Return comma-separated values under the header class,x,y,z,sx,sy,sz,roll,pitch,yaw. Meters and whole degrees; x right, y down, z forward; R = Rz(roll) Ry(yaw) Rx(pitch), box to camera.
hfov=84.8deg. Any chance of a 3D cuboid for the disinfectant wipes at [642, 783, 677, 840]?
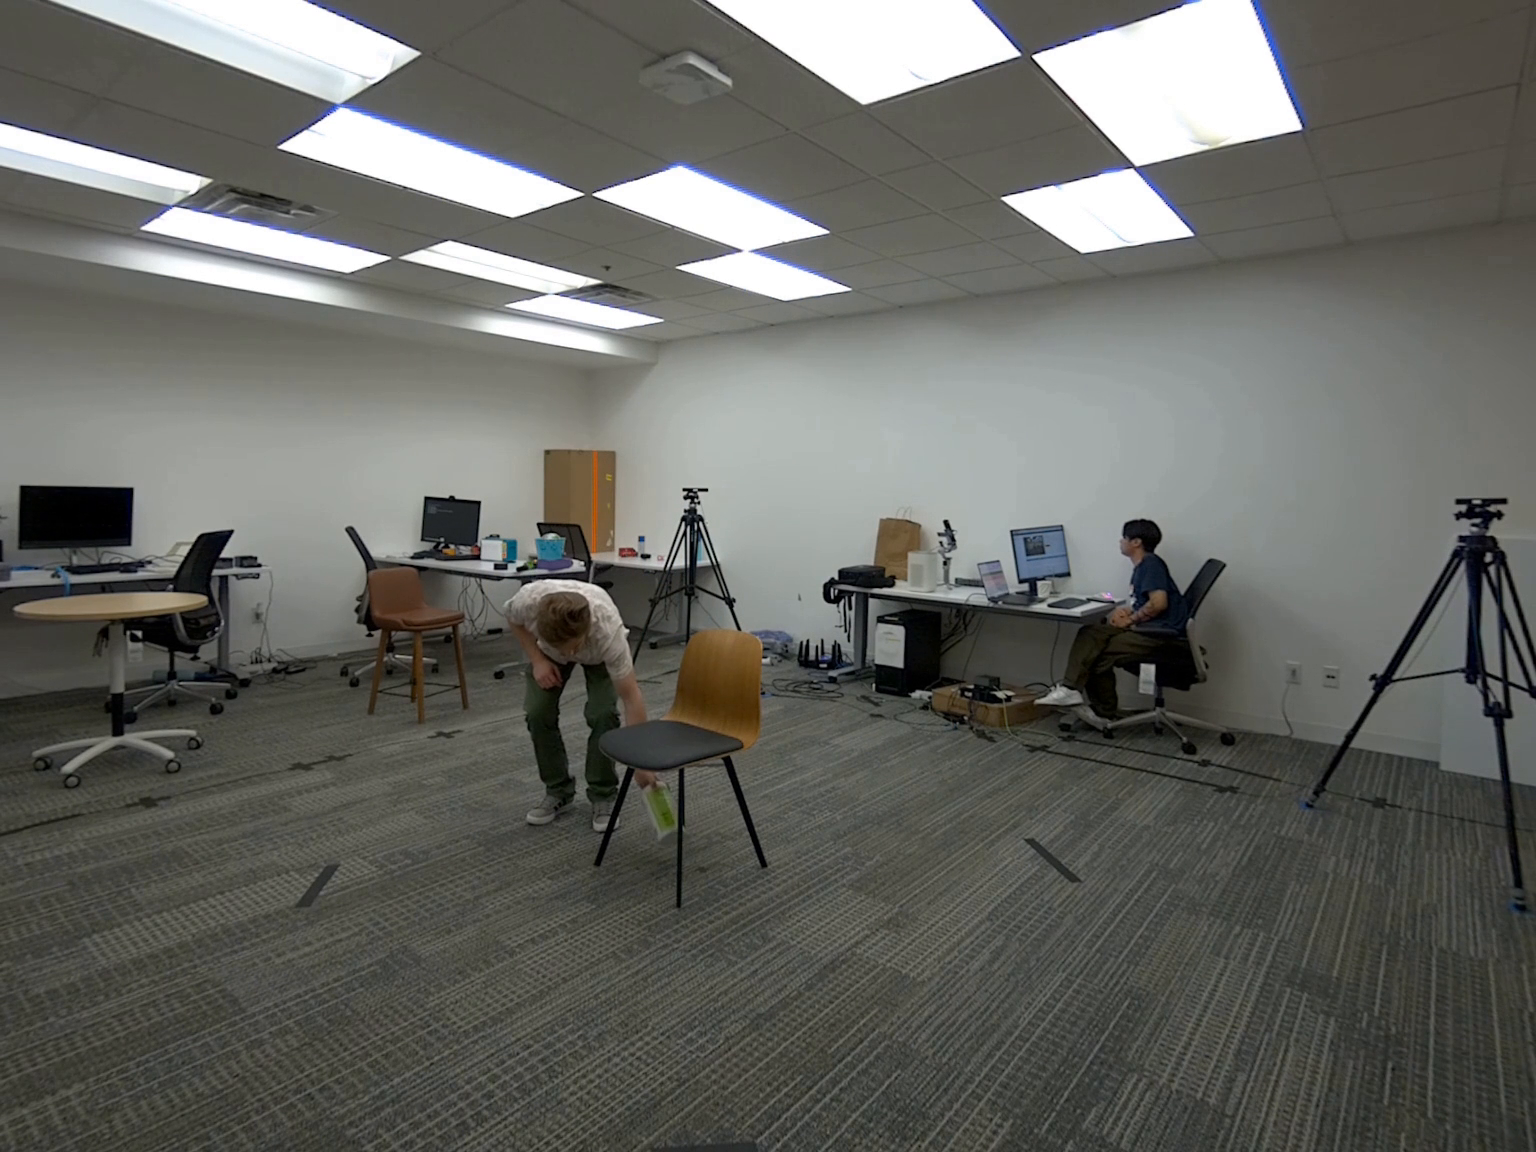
class,x,y,z,sx,sy,sz,roll,pitch,yaw
disinfectant wipes,-0.423,0.901,3.236,0.117,0.225,0.114,-10,-38,-9
